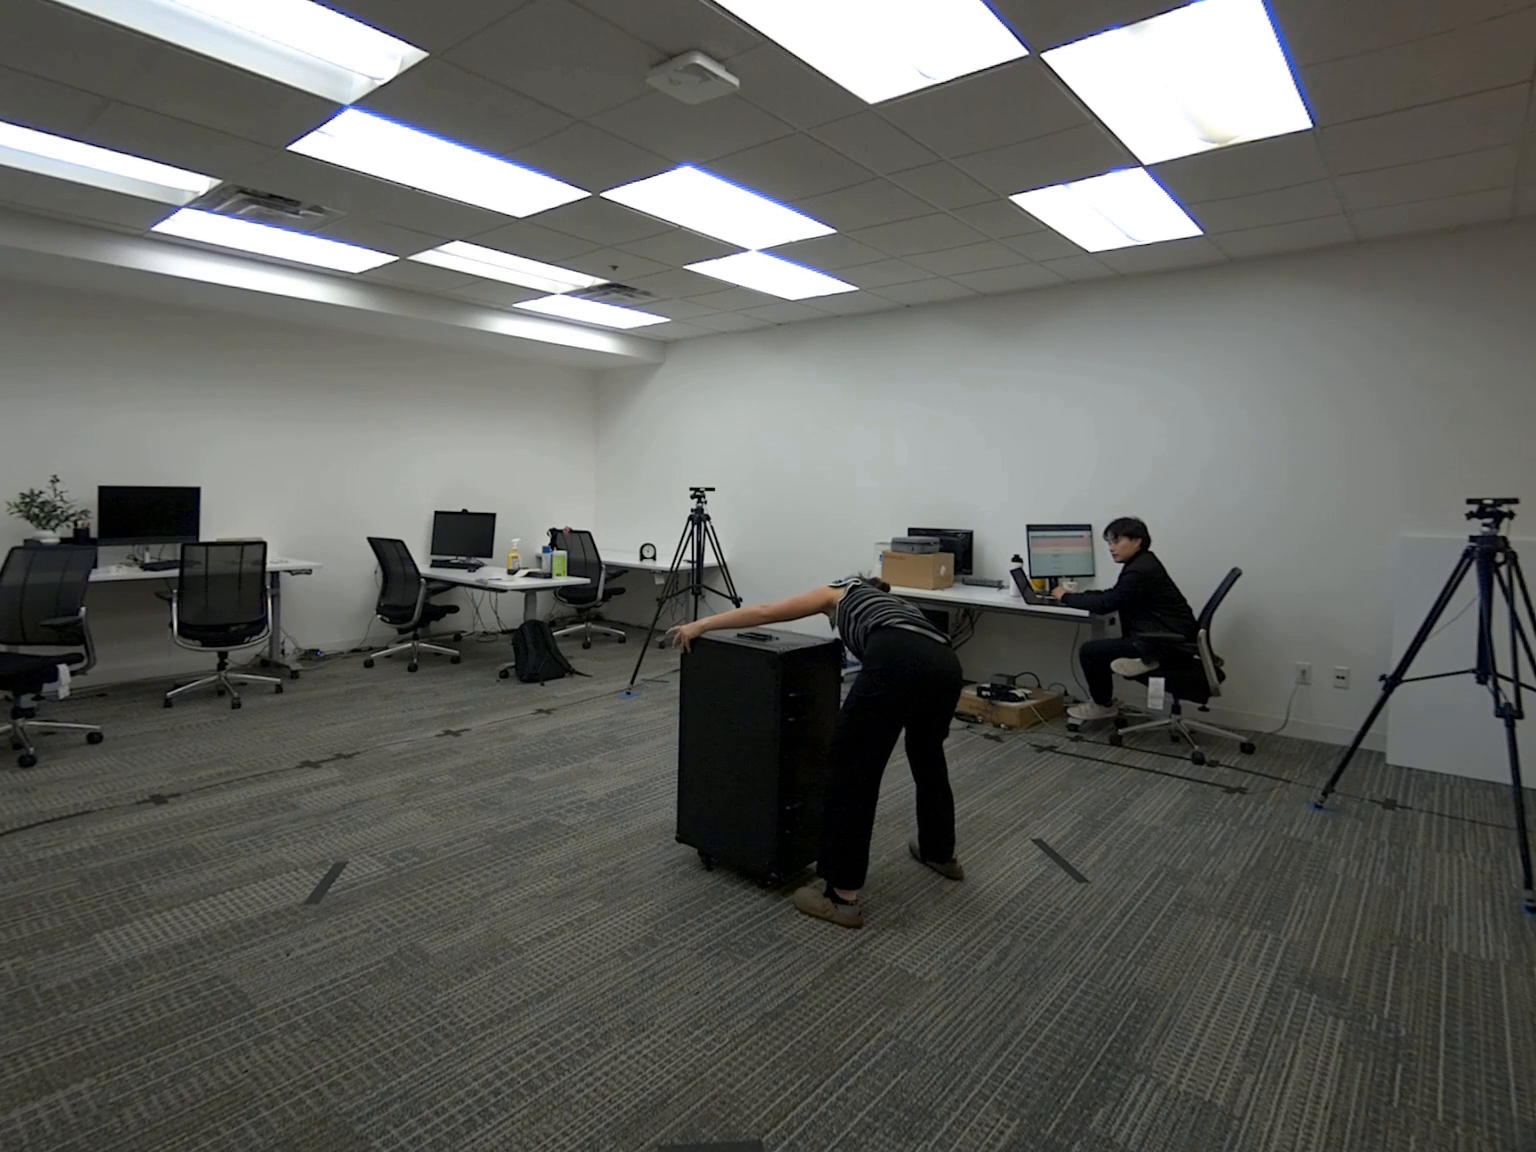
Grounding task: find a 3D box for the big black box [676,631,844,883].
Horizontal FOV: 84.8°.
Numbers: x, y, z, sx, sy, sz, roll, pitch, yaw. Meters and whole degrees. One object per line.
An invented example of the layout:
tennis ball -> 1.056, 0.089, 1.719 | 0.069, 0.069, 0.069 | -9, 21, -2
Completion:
big black box -> -0.047, 0.645, 3.138 | 0.539, 0.860, 0.384 | 5, 3, 40
